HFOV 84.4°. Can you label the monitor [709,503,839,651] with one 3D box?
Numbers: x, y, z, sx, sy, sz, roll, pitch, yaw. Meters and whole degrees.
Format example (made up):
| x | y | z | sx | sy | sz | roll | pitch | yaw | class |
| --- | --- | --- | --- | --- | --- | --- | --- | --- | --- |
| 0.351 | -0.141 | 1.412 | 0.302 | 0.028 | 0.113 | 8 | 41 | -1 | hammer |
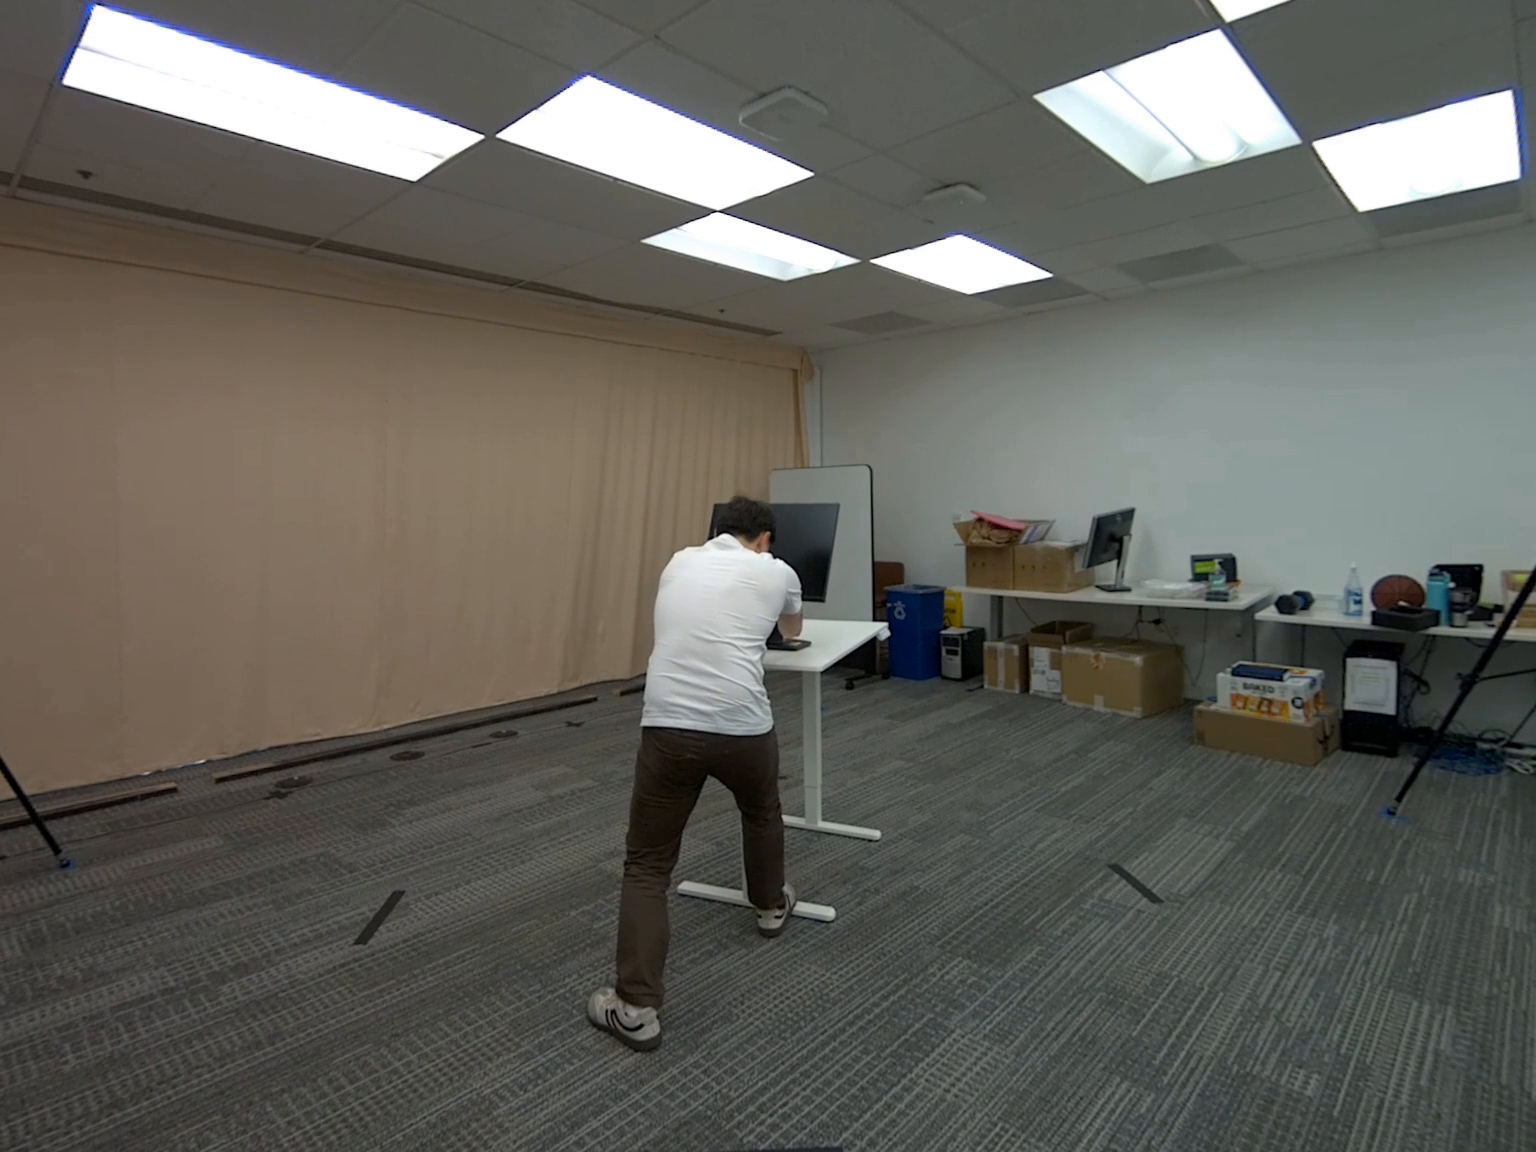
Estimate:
| x | y | z | sx | sy | sz | roll | pitch | yaw | class |
| --- | --- | --- | --- | --- | --- | --- | --- | --- | --- |
| 0.018 | -0.002 | 3.052 | 0.555 | 0.522 | 0.181 | 2 | 0 | 32 | monitor |
